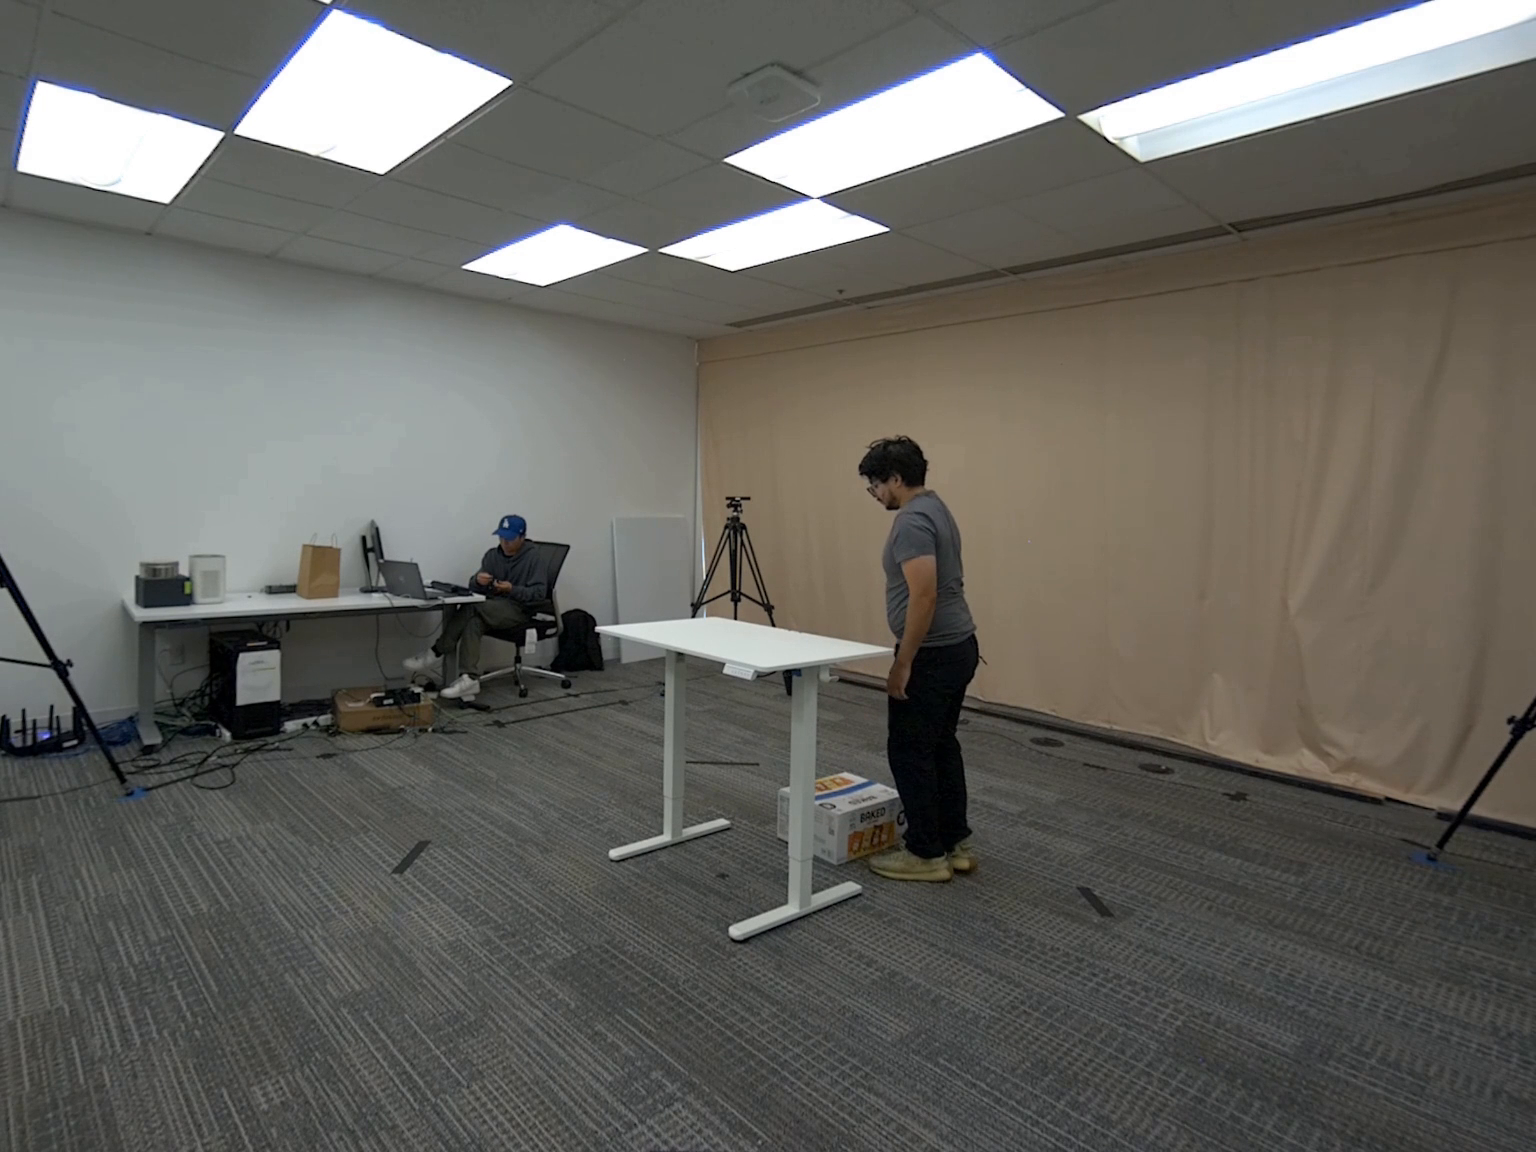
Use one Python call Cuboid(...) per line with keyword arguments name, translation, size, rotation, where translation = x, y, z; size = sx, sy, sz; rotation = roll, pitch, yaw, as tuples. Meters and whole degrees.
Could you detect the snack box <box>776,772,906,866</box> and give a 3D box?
Cuboid(name="snack box", translation=(0.293, 0.985, 3.455), size=(0.396, 0.205, 0.349), rotation=(-2, 5, -40))
